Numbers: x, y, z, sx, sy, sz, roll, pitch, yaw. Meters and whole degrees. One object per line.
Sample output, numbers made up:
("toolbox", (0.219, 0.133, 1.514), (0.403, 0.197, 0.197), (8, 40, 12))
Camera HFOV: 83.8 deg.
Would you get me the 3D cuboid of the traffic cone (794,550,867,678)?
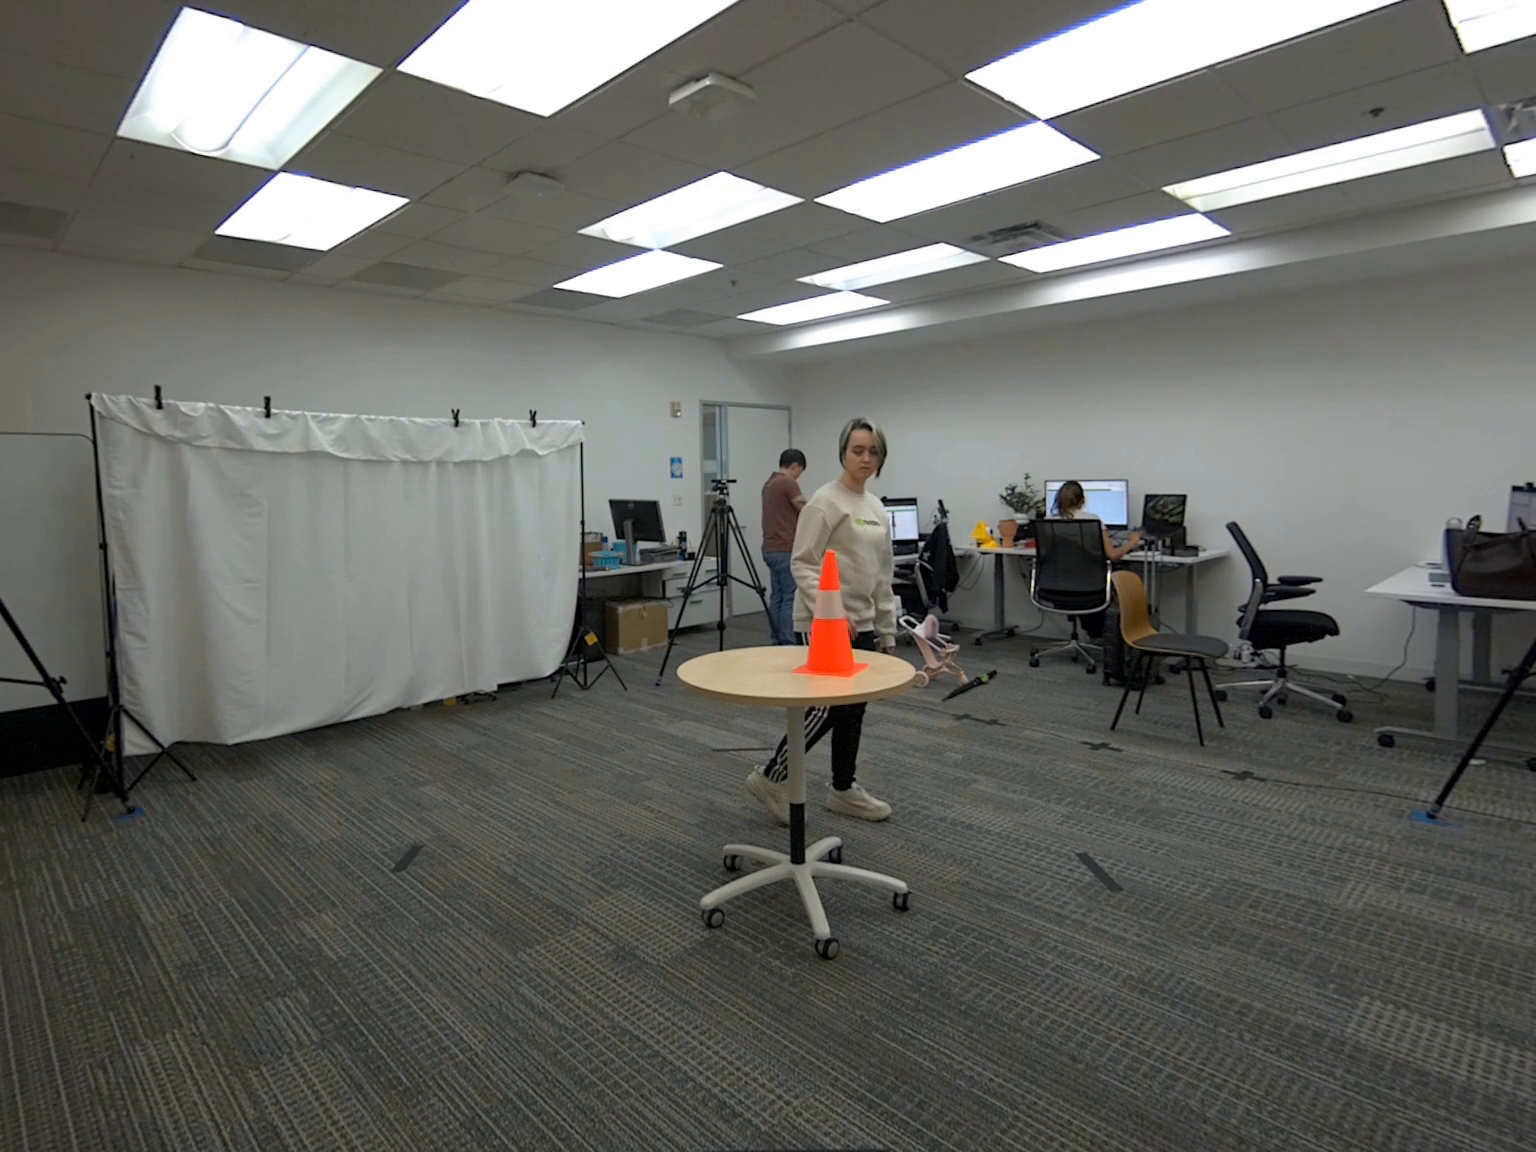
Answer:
("traffic cone", (0.197, 0.113, 2.742), (0.208, 0.382, 0.200), (0, 4, 29))
